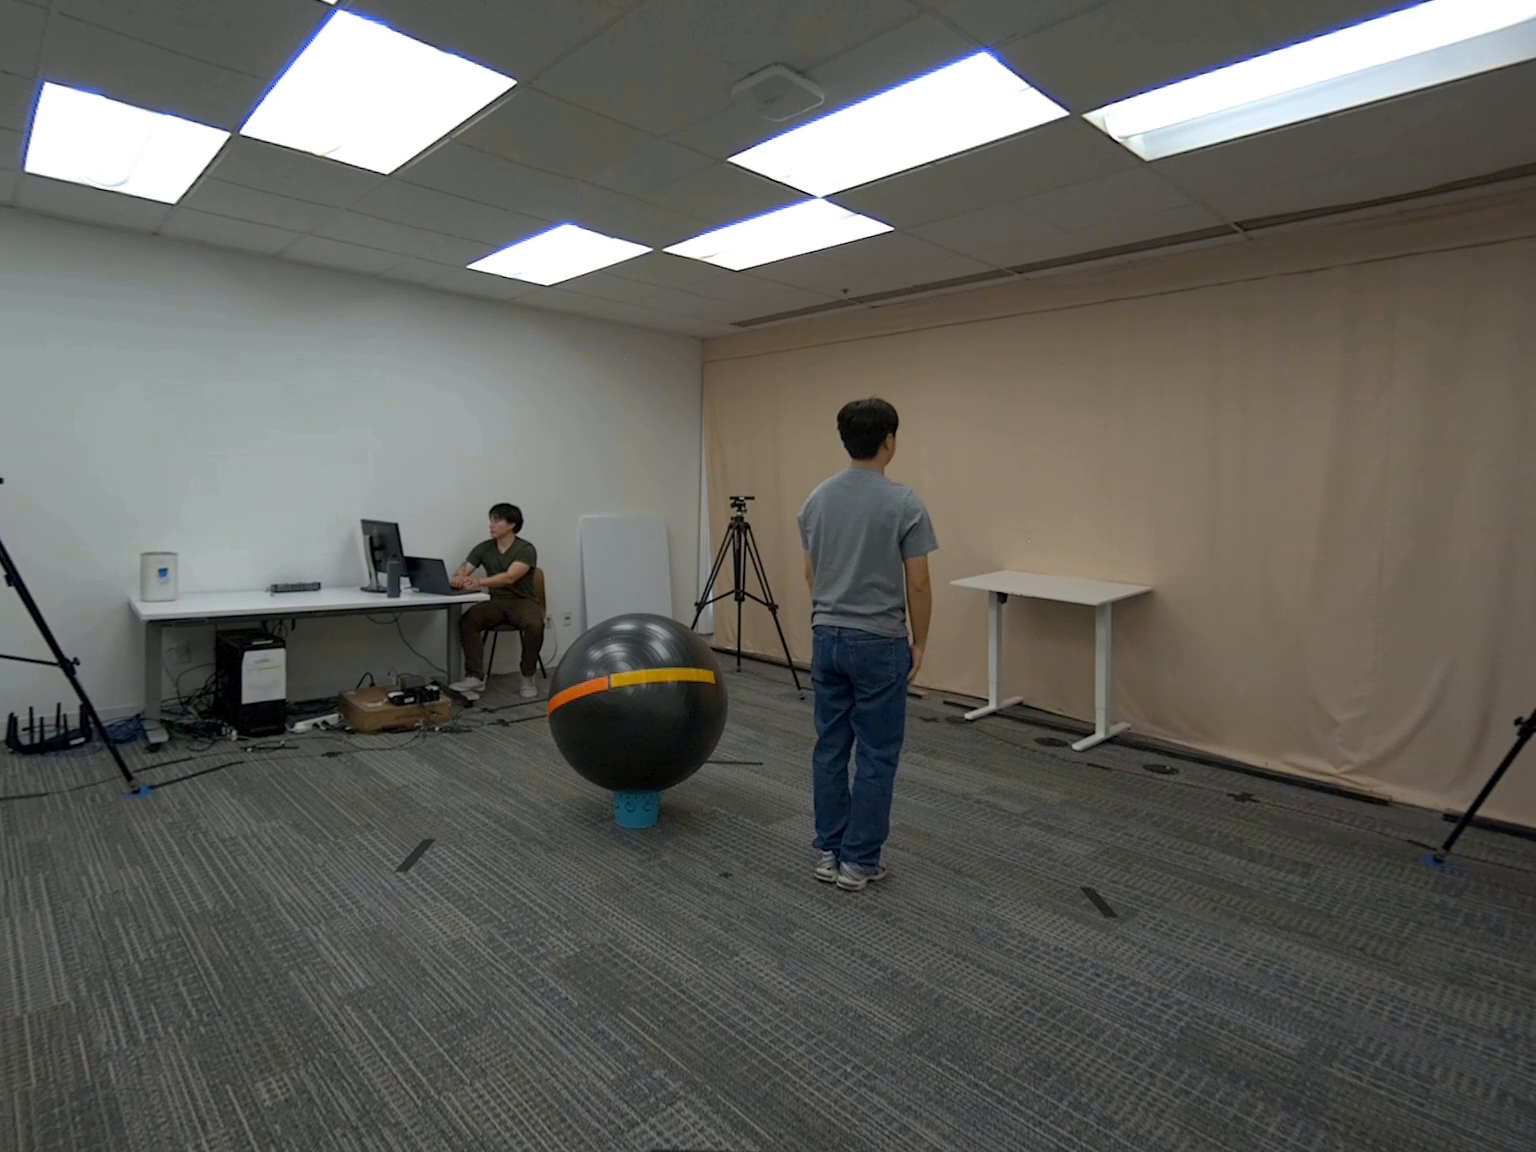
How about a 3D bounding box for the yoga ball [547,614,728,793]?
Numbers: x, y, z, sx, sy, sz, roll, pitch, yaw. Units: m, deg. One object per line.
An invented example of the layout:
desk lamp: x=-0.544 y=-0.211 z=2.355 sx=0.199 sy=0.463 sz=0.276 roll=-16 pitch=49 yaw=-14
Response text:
yoga ball: x=-0.558 y=0.542 z=3.601 sx=0.757 sy=0.756 sz=0.761 roll=1 pitch=4 yaw=-1
